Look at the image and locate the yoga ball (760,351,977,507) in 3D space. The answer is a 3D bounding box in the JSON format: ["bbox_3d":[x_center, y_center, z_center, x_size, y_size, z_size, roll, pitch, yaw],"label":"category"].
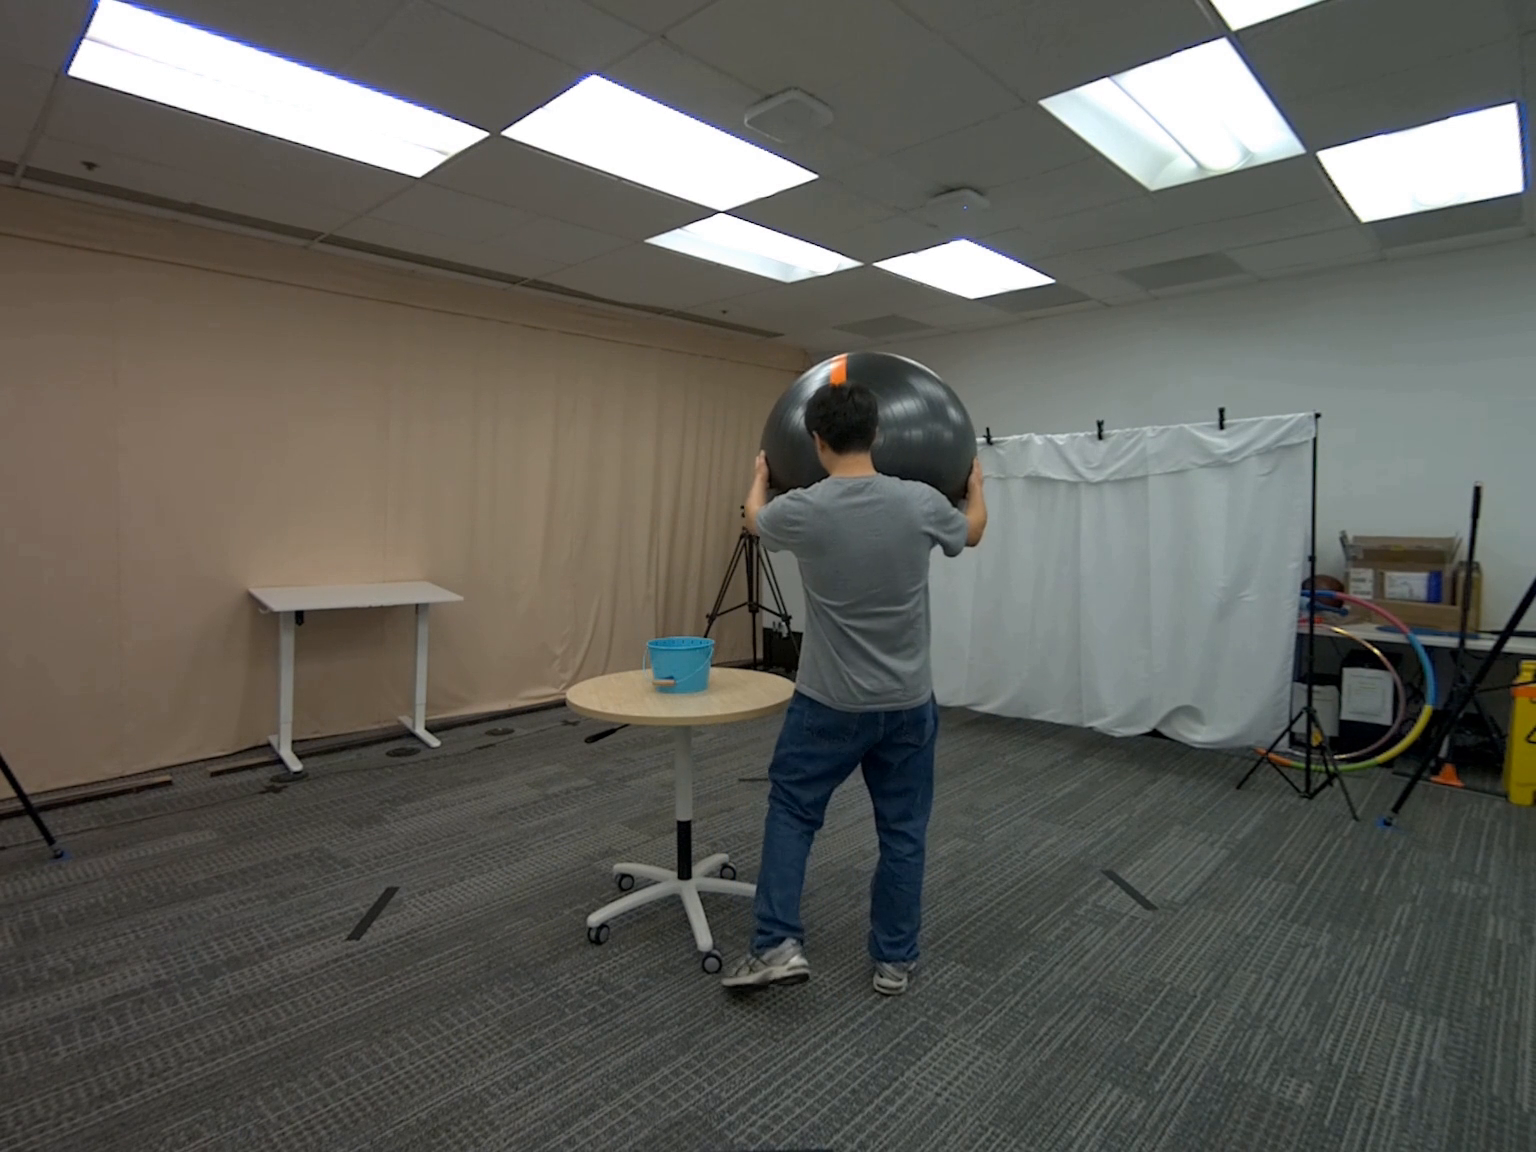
[{"bbox_3d":[0.333,-0.399,2.972,0.757,0.756,0.760,0,4,-2],"label":"yoga ball"}]
